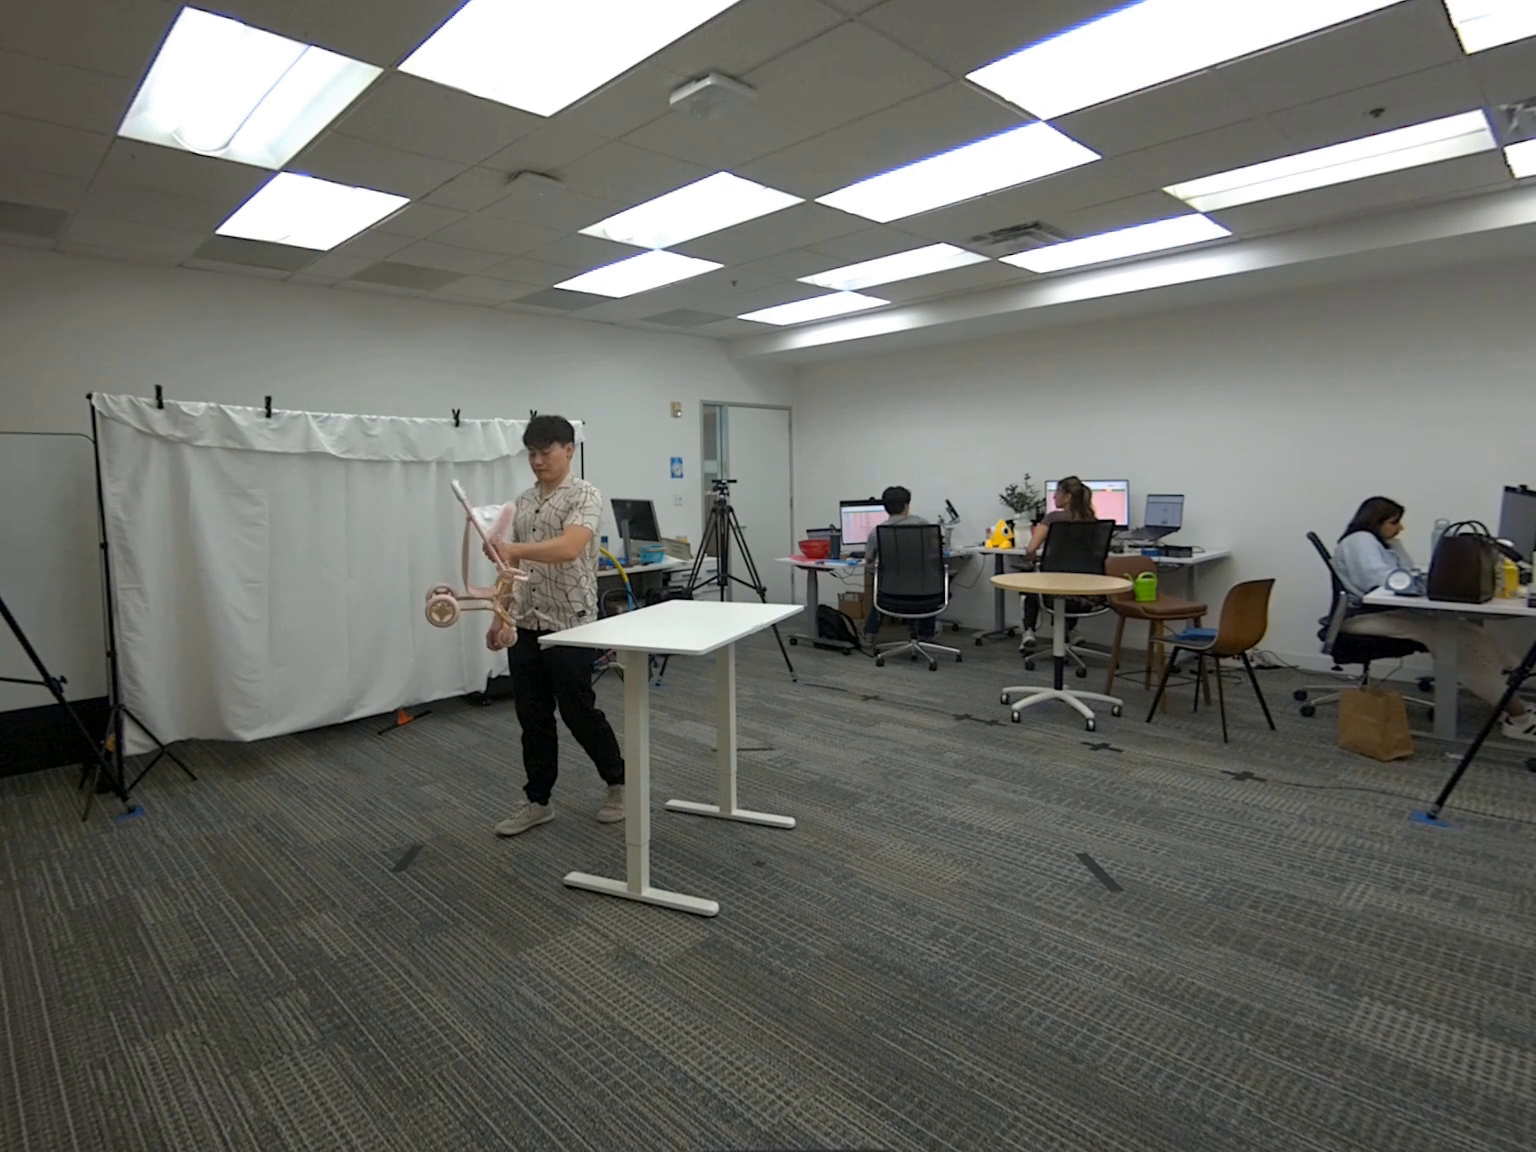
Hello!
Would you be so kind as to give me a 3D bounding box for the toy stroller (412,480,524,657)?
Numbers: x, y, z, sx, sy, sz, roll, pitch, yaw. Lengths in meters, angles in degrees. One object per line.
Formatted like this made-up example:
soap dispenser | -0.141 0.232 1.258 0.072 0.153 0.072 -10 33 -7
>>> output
toy stroller | -0.984 -0.033 2.964 0.336 0.534 0.286 12 1 -16
